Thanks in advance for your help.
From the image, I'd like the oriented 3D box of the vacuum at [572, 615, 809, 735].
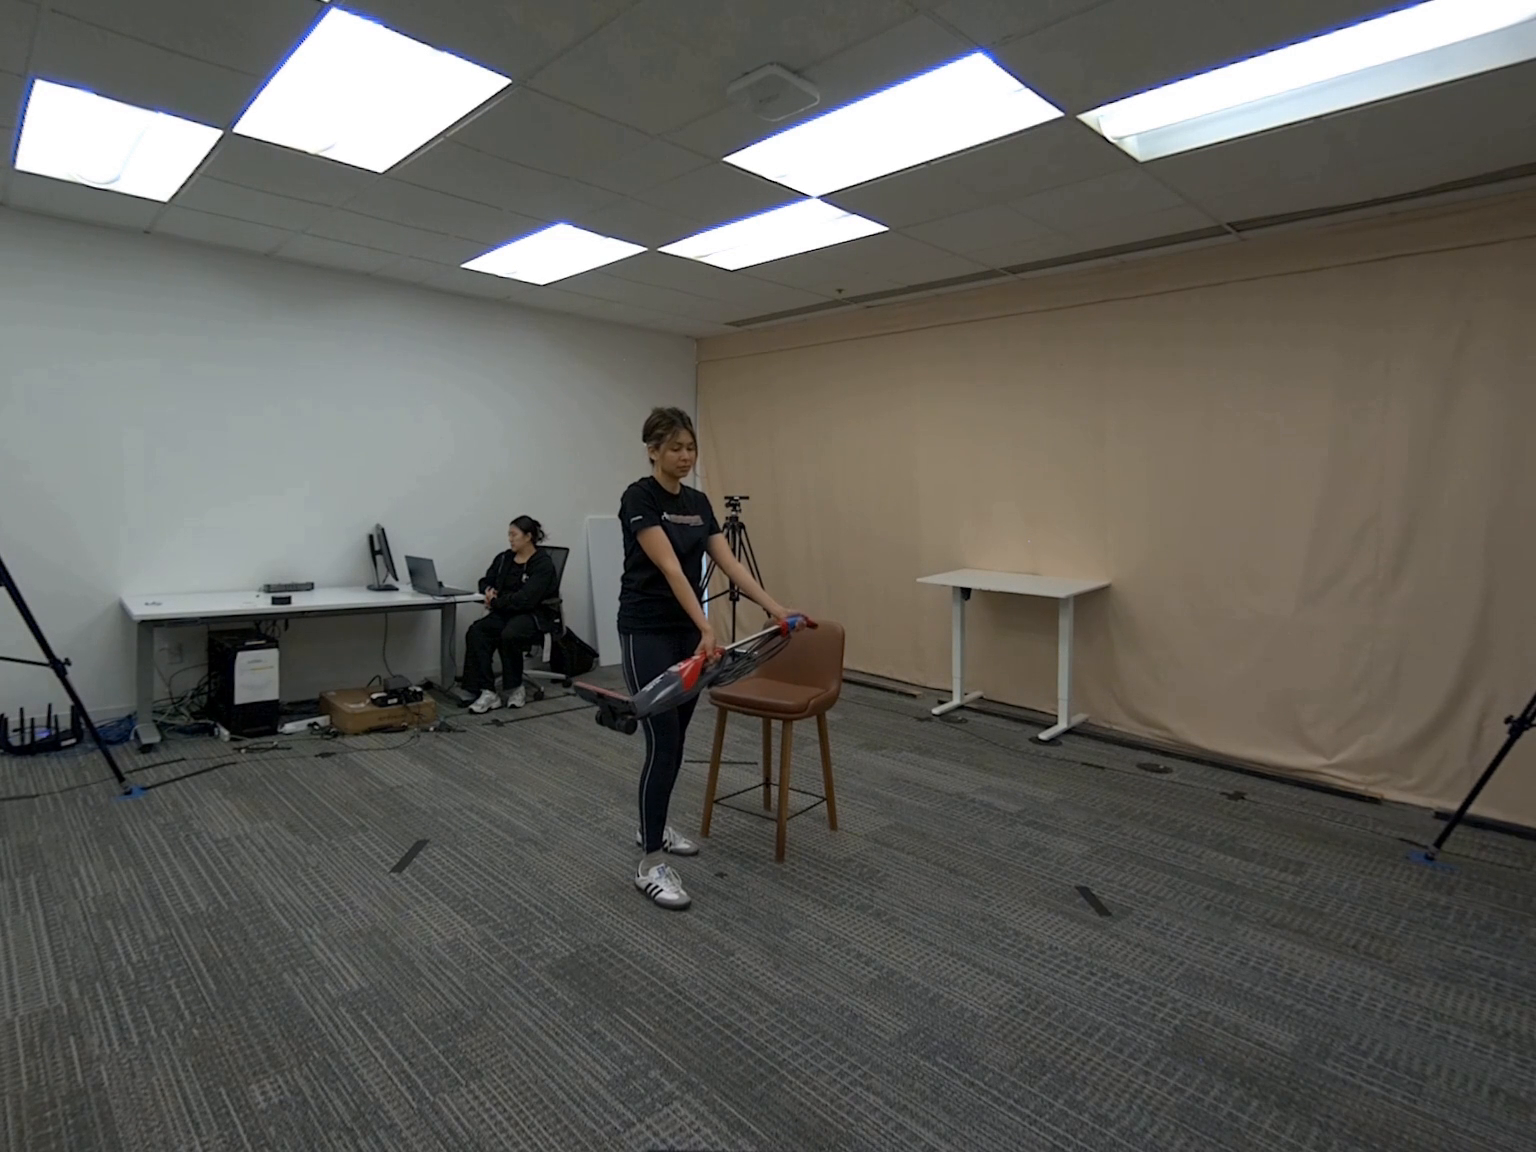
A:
[{"bbox_3d":[-0.144,0.300,2.815,0.259,0.142,1.031,9,17,42],"label":"vacuum"}]
